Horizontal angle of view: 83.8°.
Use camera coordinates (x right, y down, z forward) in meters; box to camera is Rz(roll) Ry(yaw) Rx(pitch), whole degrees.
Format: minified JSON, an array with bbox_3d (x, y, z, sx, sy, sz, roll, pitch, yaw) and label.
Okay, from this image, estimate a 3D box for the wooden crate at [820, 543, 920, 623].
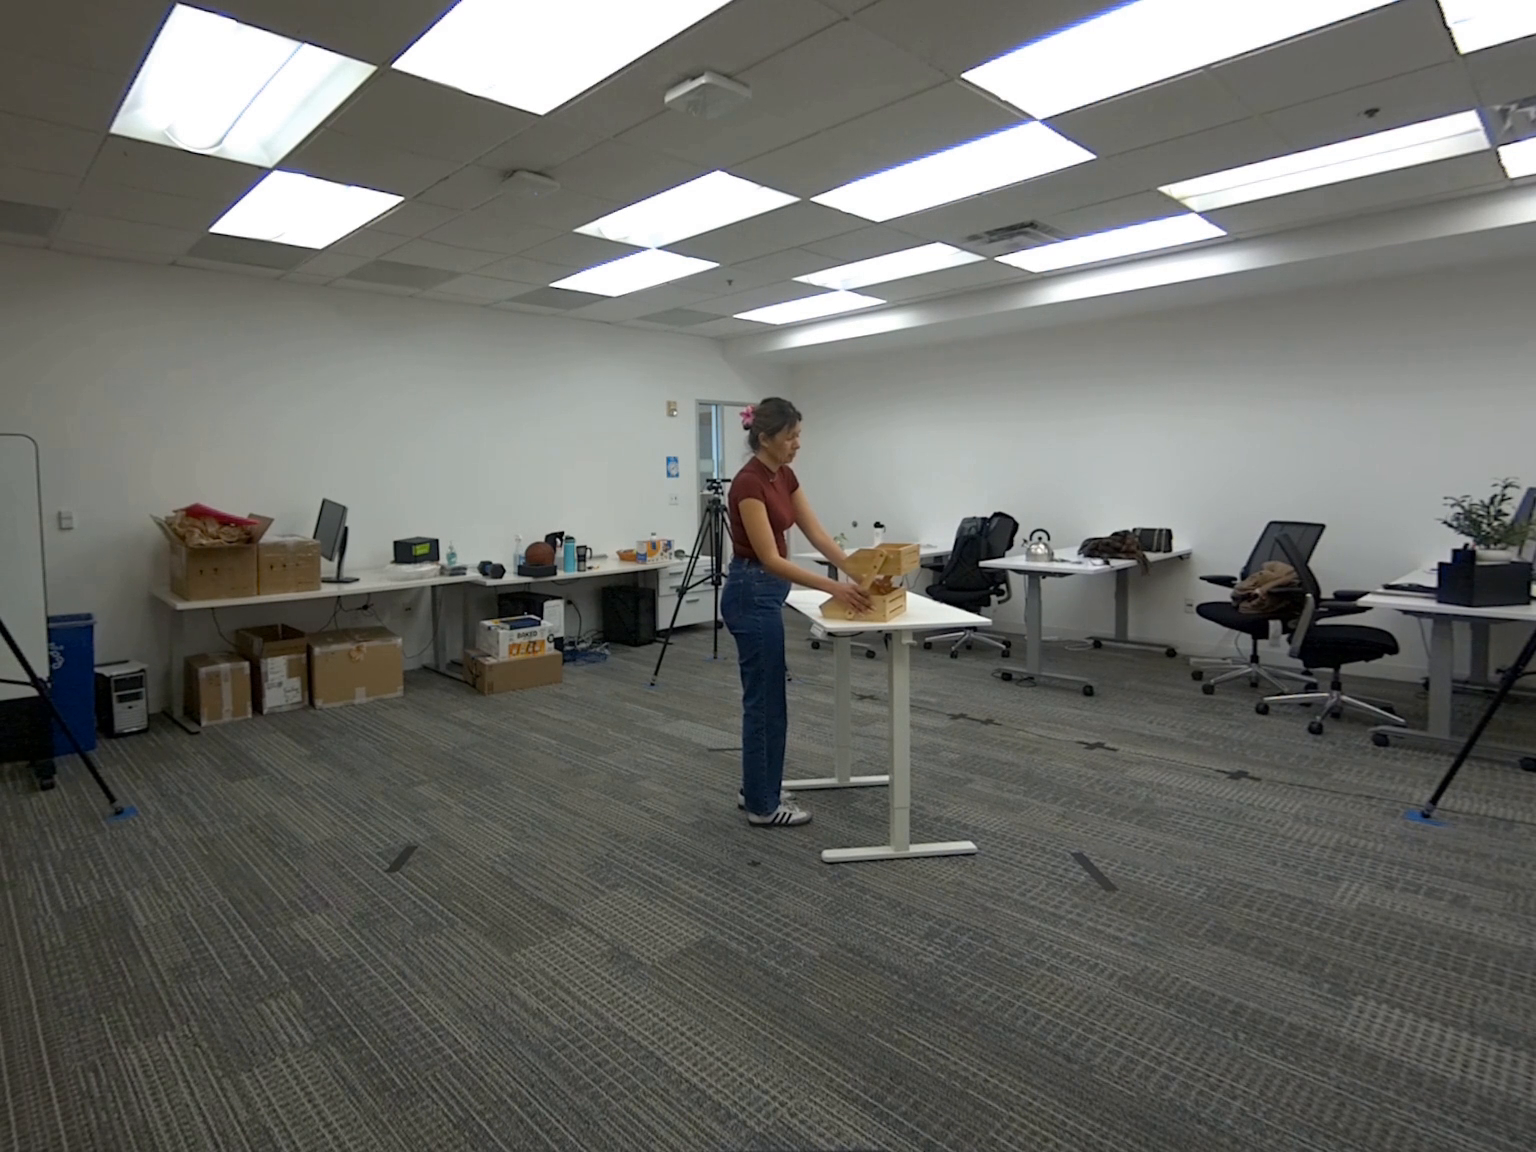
[{"bbox_3d":[0.379,0.012,3.180,0.309,0.272,0.318,2,5,24],"label":"wooden crate"}]
